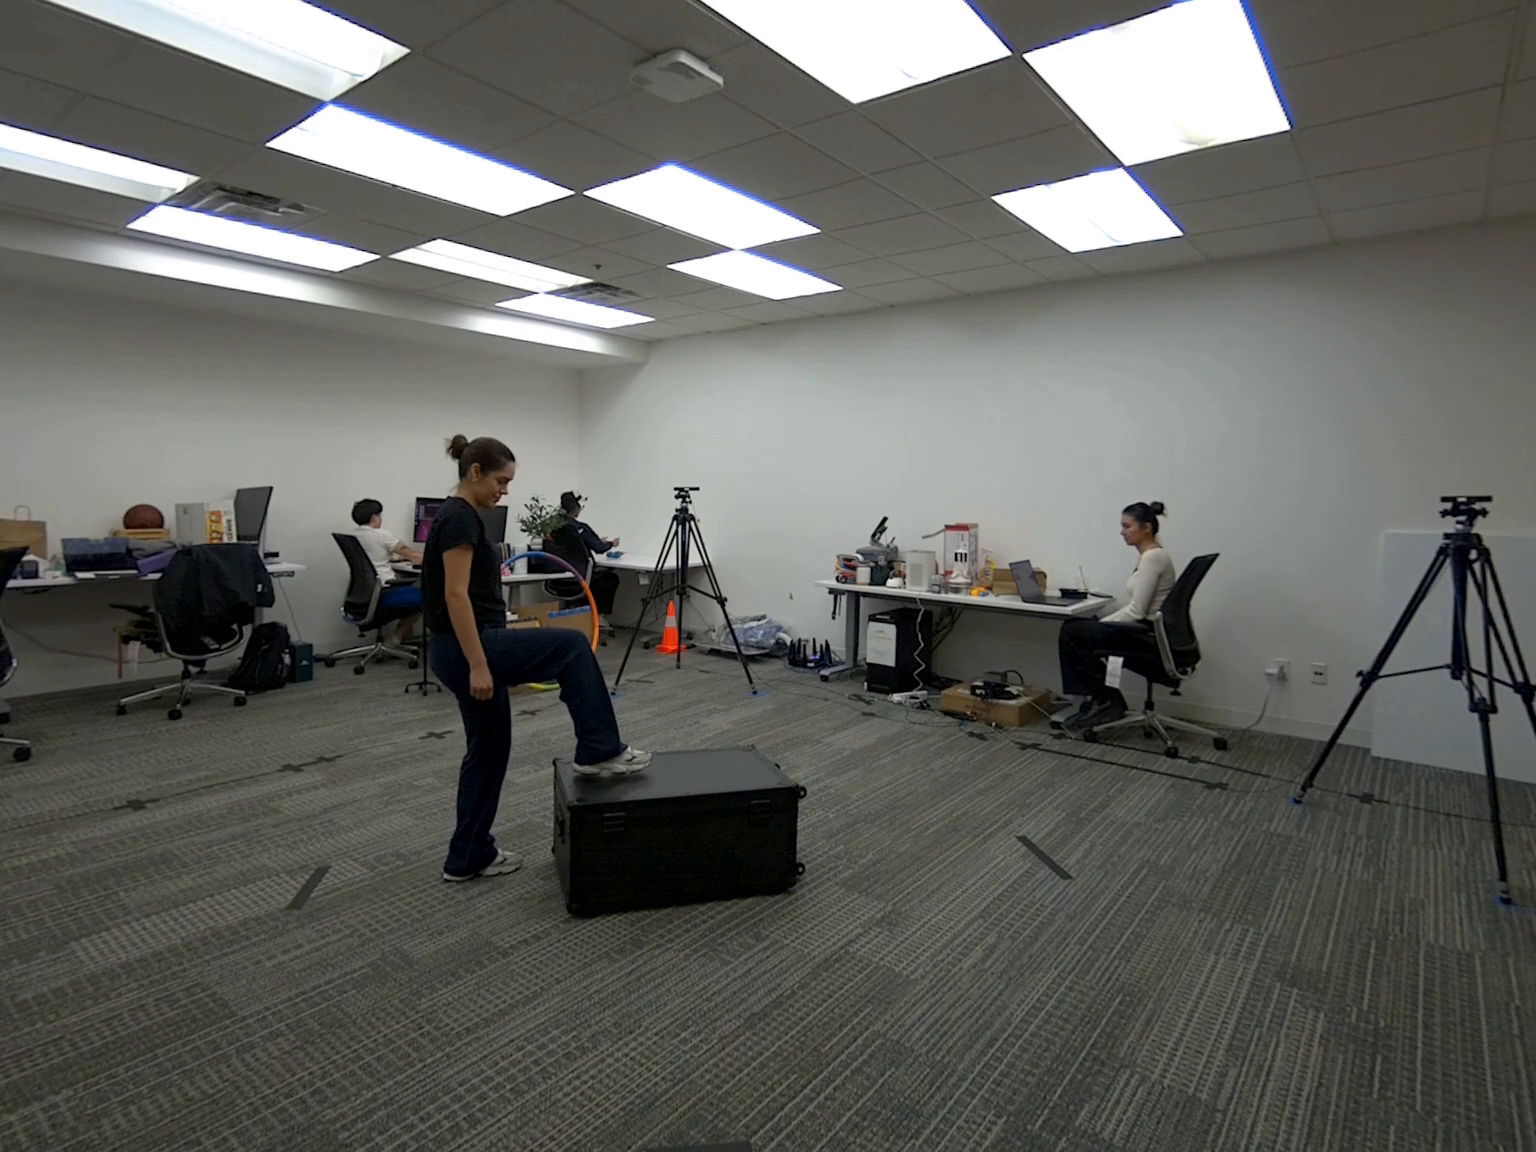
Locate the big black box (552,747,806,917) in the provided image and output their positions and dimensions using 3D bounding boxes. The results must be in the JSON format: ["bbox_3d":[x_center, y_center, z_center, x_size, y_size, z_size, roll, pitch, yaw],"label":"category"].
[{"bbox_3d":[-0.301,0.875,3.056,0.846,0.395,0.533,-1,5,-18],"label":"big black box"}]
